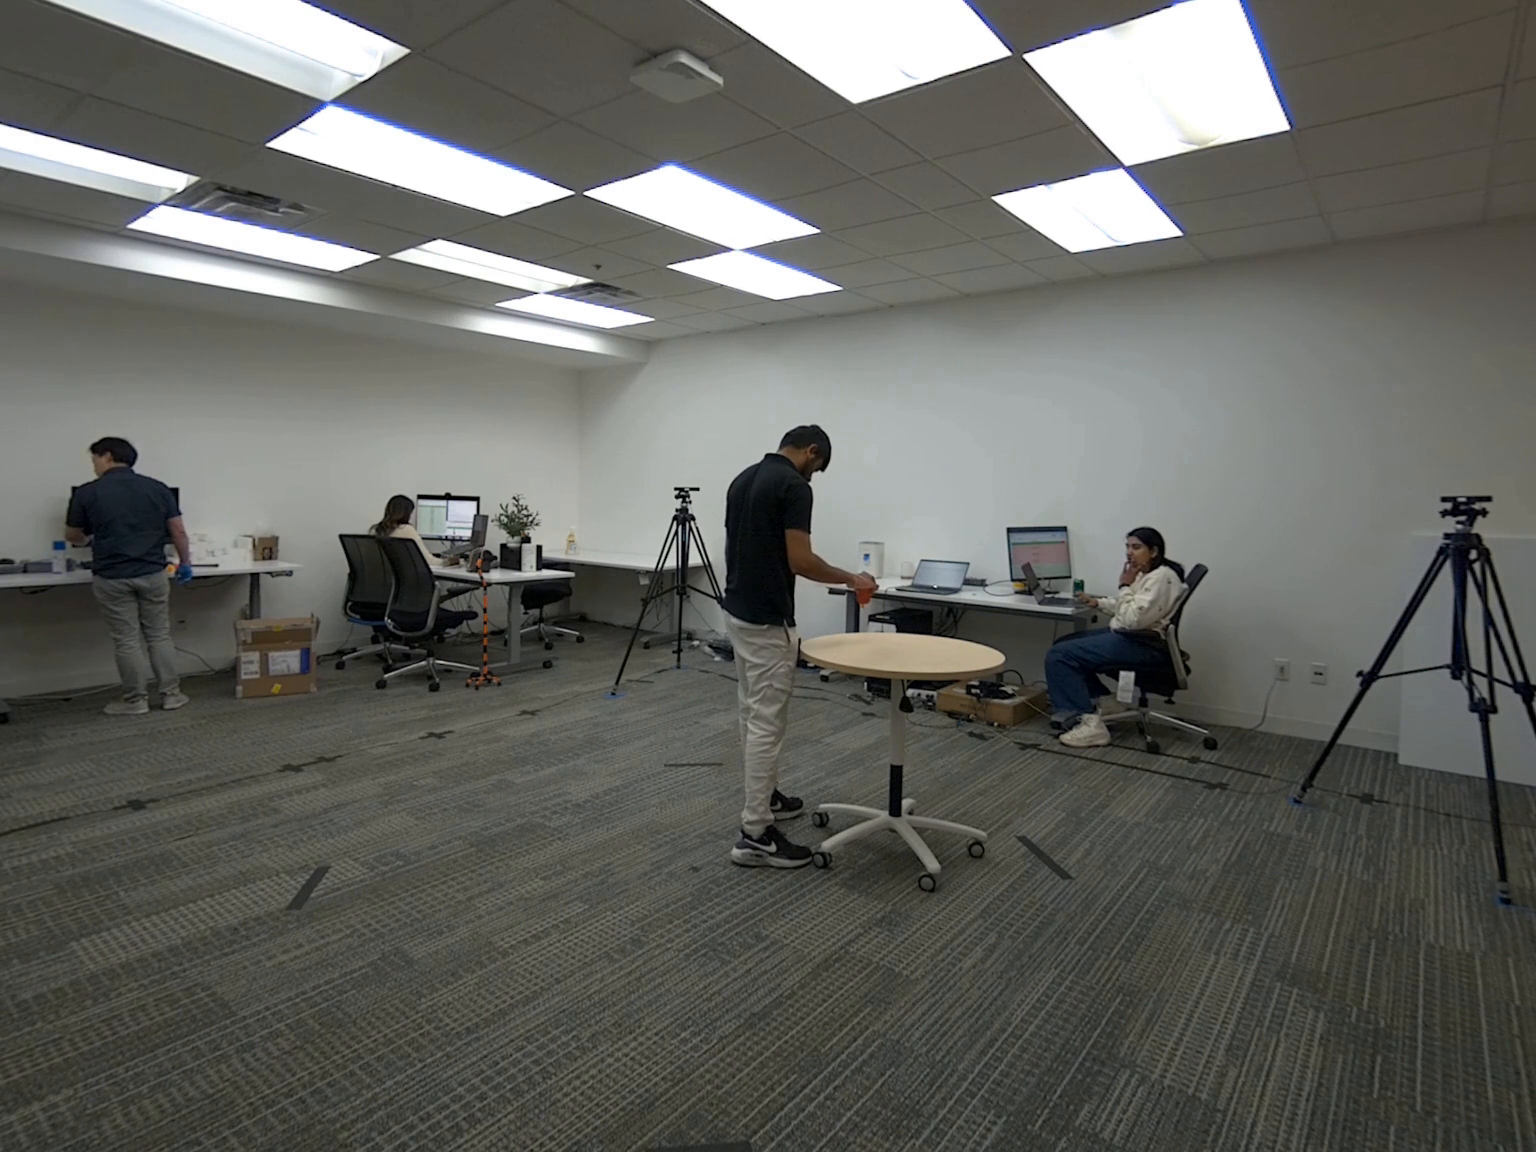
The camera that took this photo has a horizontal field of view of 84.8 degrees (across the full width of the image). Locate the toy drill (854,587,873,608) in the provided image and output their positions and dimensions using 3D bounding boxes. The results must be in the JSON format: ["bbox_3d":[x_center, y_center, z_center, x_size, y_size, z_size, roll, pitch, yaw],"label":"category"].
[{"bbox_3d":[0.371,0.078,3.365,0.061,0.166,0.148,3,25,5],"label":"toy drill"}]
